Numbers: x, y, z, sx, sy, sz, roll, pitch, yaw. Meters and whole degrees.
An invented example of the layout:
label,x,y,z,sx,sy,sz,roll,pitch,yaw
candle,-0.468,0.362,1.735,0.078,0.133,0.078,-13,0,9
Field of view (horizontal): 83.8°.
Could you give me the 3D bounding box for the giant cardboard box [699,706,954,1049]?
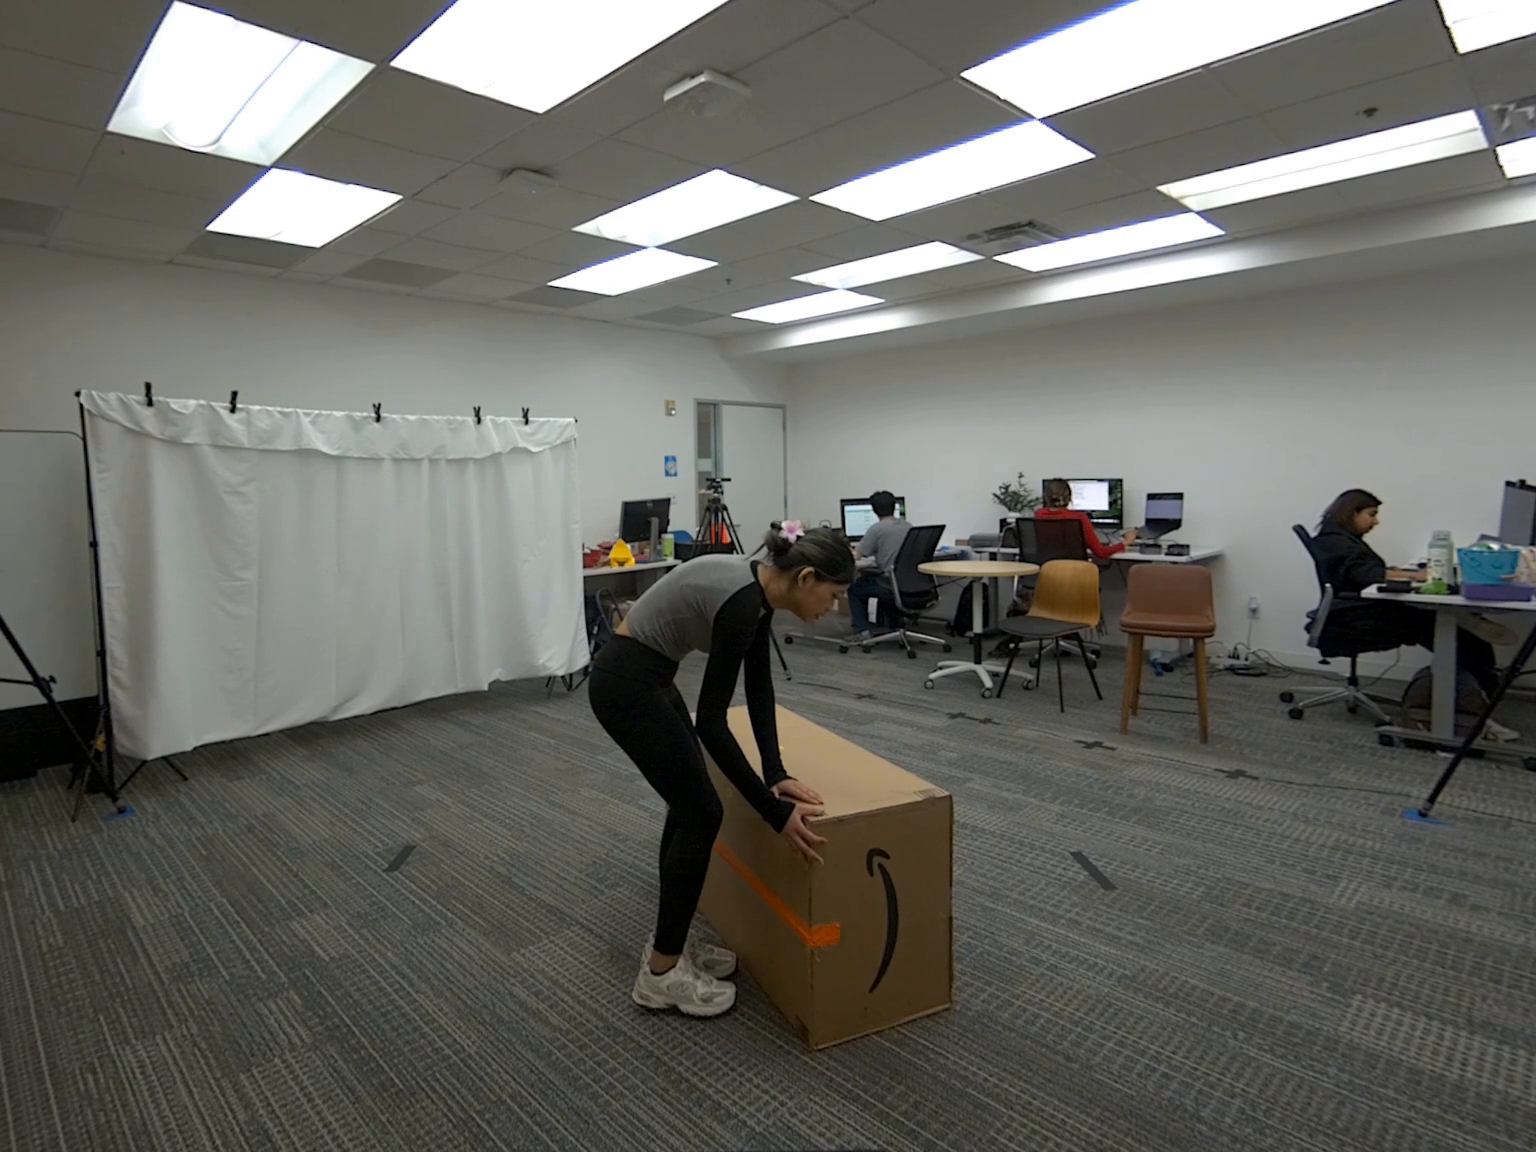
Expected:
label,x,y,z,sx,sy,sz,roll,pitch,yaw
giant cardboard box,0.069,0.811,2.618,0.438,0.581,1.053,-4,7,-26
